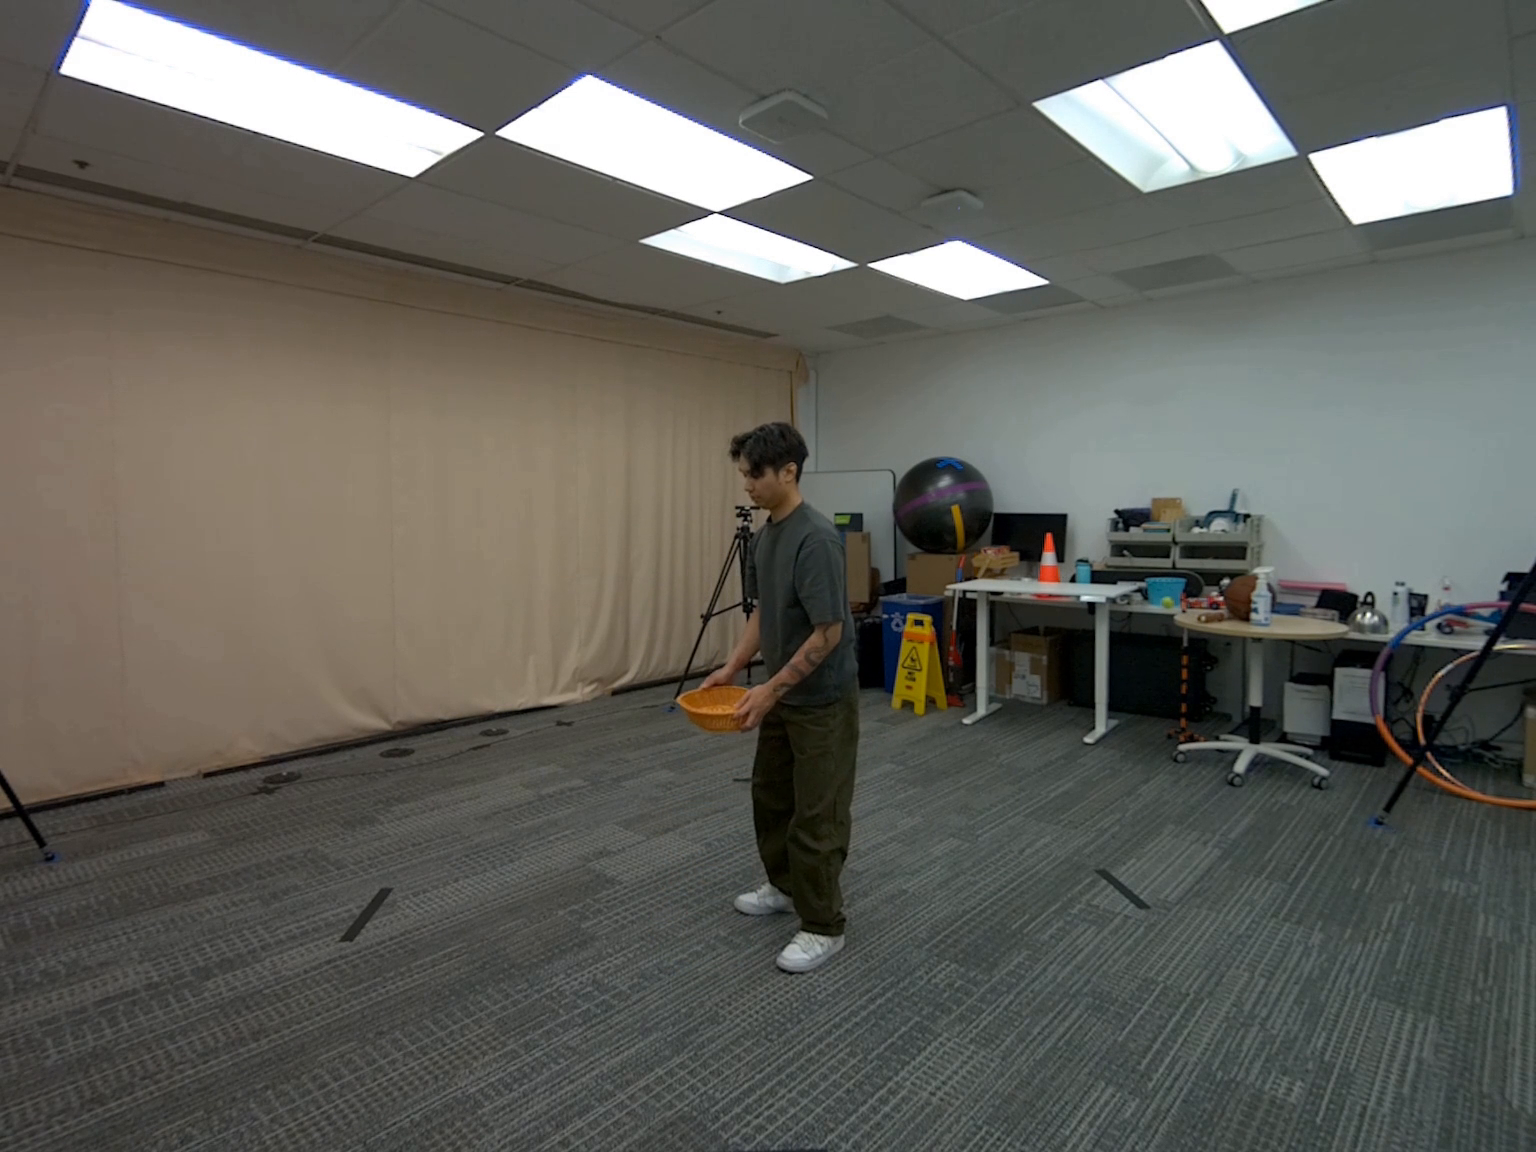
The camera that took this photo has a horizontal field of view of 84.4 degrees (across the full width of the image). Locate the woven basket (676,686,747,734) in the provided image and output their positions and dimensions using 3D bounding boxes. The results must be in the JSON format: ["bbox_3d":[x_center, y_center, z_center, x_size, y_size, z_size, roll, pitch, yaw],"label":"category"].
[{"bbox_3d":[-0.142,0.422,2.626,0.247,0.073,0.358,-6,5,-23],"label":"woven basket"}]
